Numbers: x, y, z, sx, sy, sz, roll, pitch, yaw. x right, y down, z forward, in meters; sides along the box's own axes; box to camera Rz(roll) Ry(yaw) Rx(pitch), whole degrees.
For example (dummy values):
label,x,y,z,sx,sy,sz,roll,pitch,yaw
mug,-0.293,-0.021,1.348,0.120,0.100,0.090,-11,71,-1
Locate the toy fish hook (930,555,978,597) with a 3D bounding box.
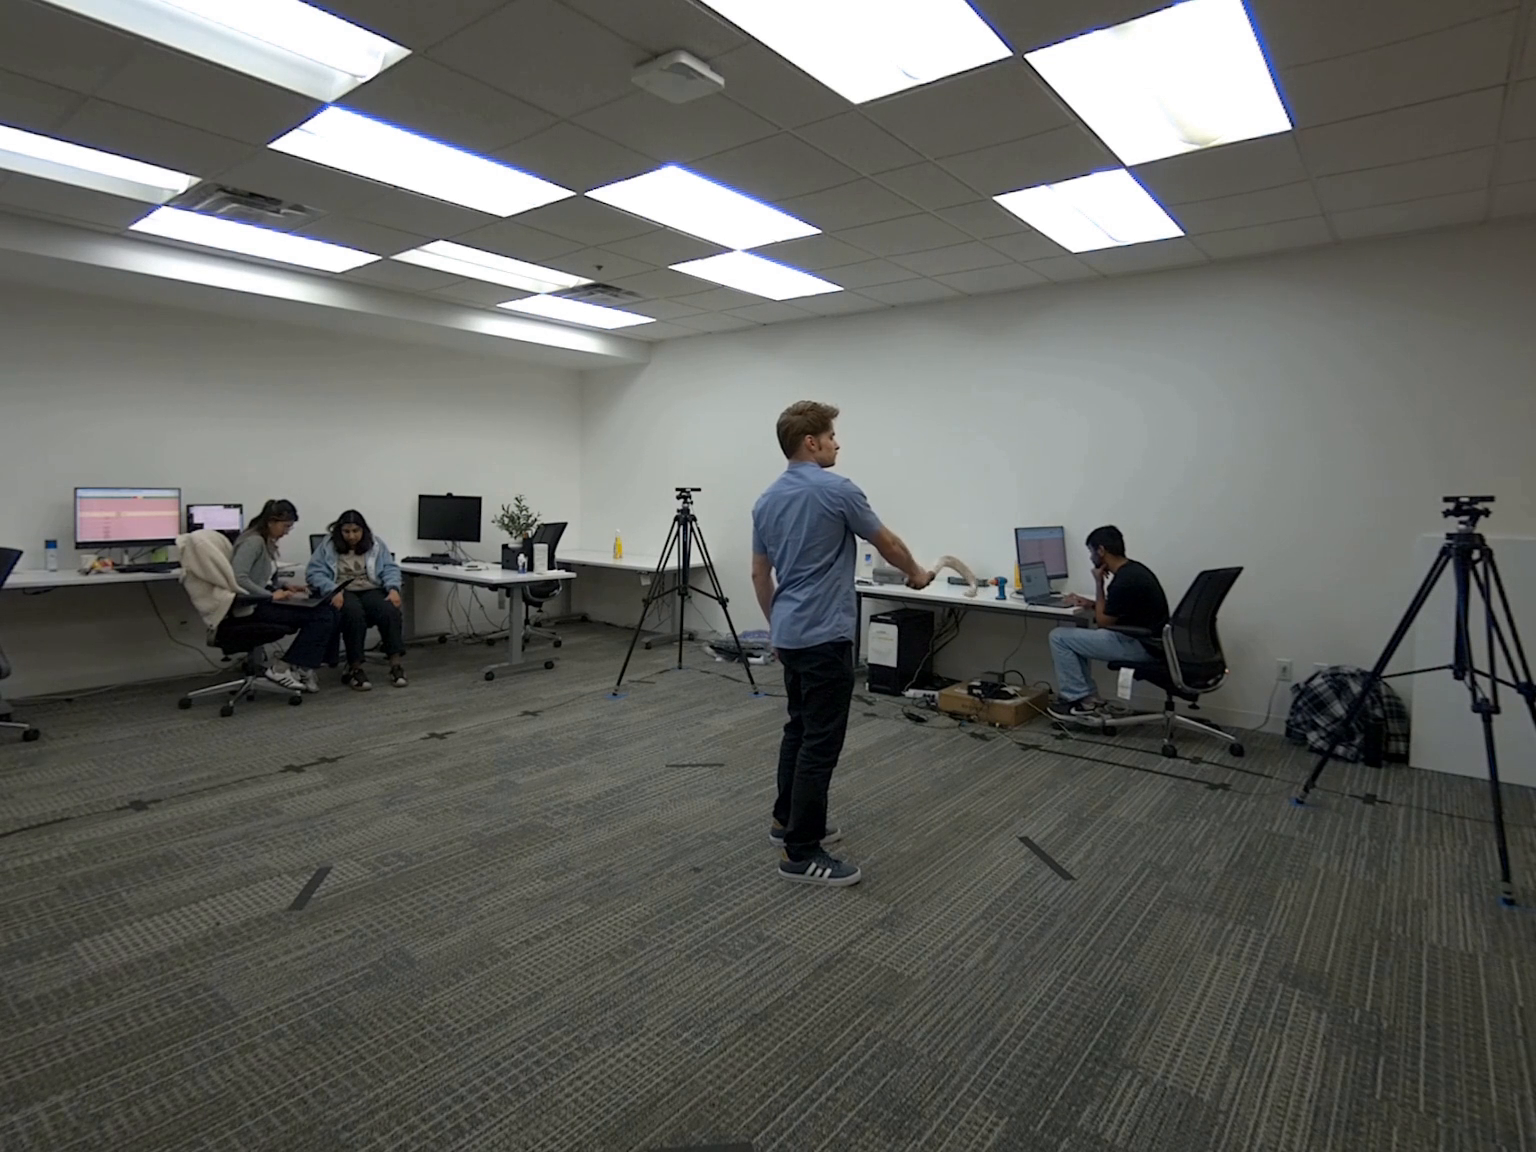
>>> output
label,x,y,z,sx,sy,sz,roll,pitch,yaw
toy fish hook,0.738,0.005,3.533,0.231,0.048,0.495,47,36,21
